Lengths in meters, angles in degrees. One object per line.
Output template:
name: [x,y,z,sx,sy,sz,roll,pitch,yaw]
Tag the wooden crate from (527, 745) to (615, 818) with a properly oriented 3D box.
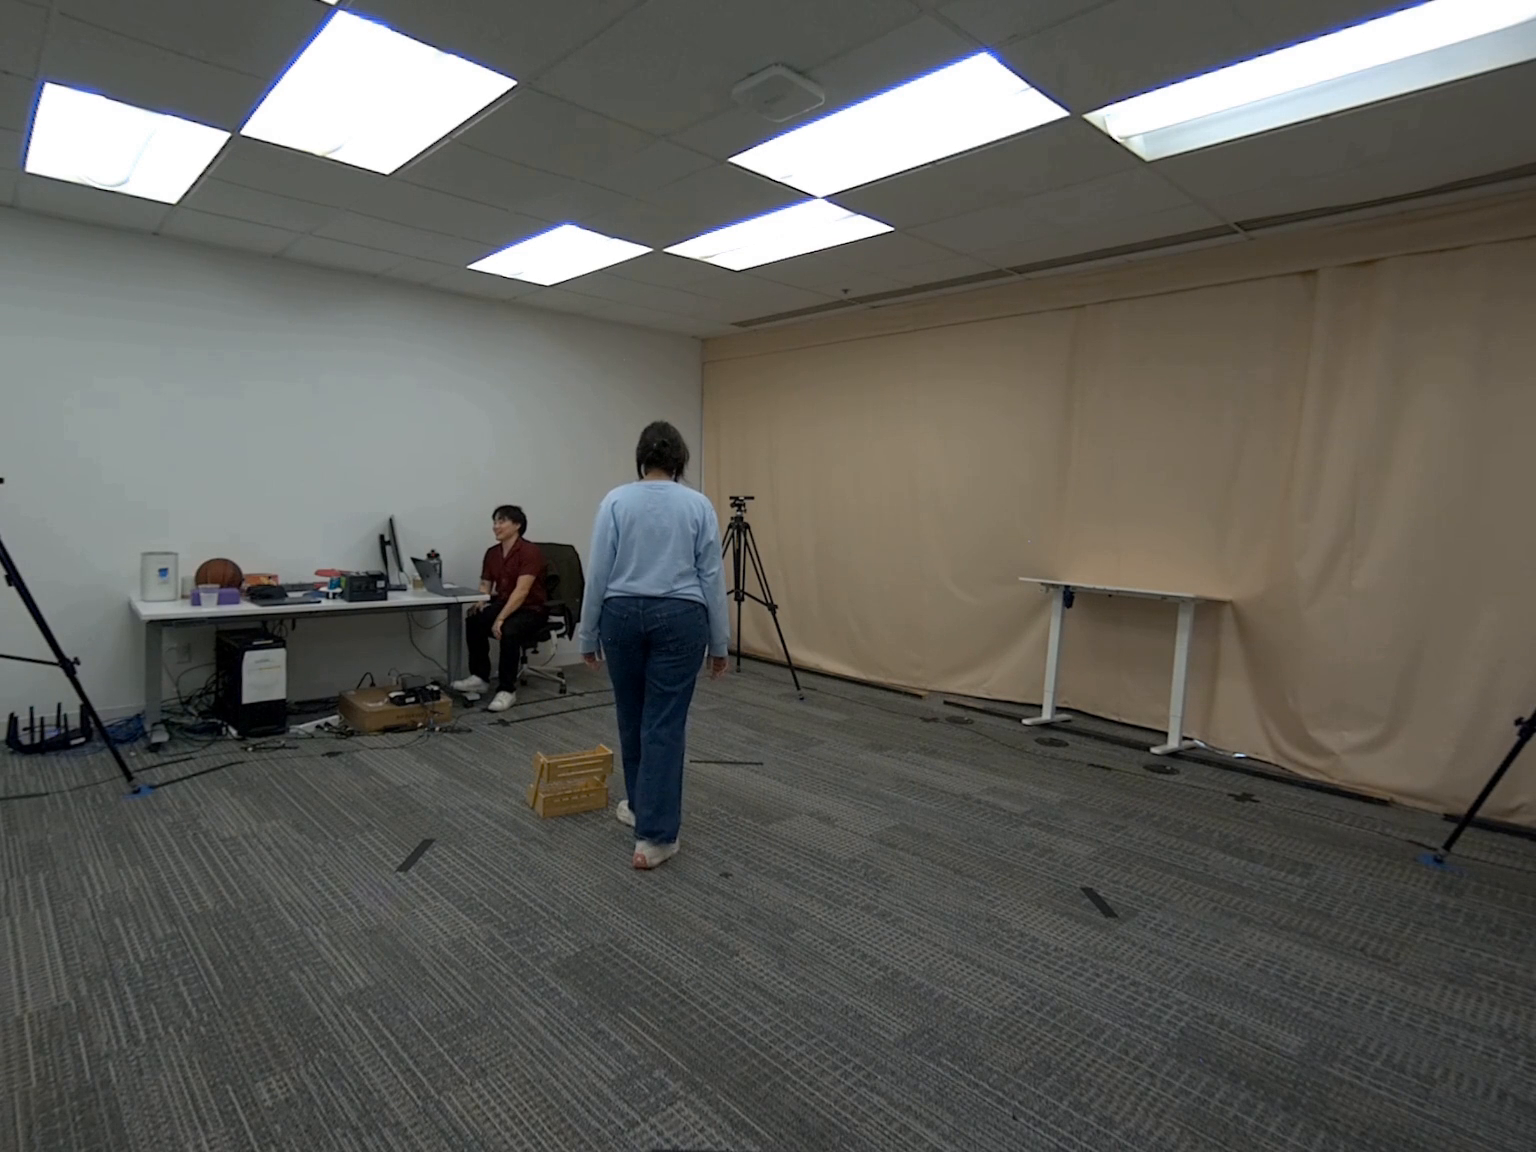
wooden crate: [-0.905,0.899,3.774,0.318,0.272,0.309,-1,5,-32]
